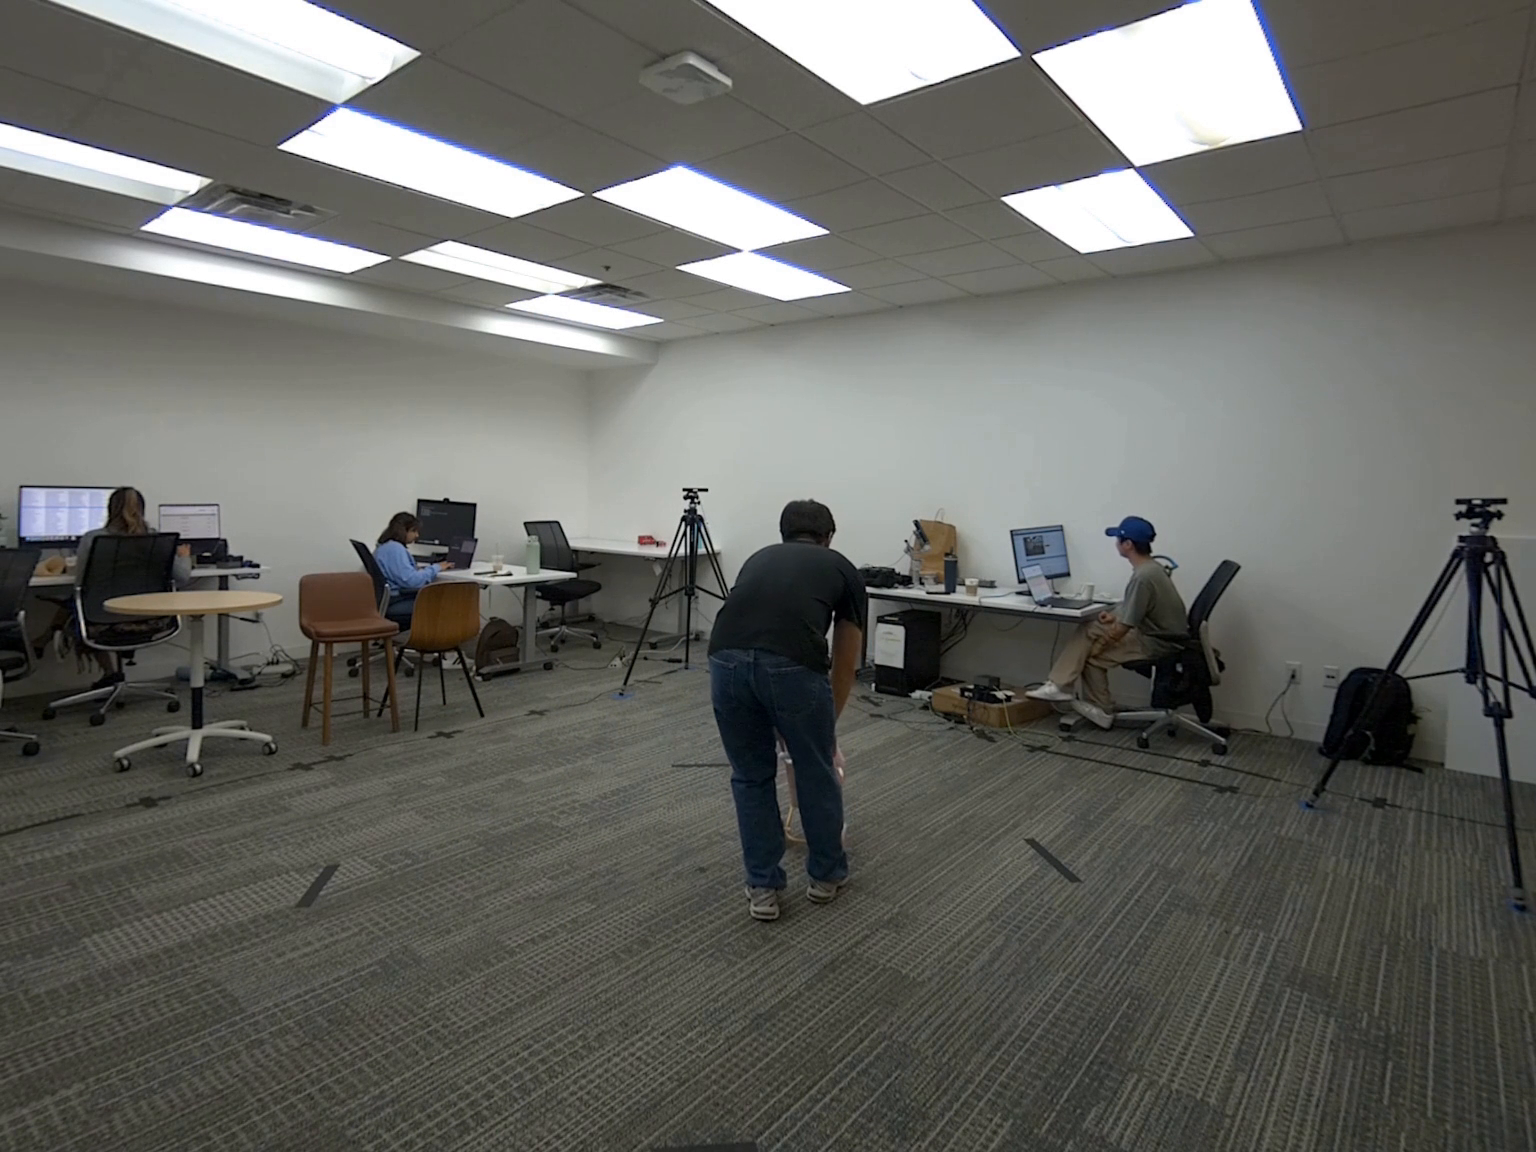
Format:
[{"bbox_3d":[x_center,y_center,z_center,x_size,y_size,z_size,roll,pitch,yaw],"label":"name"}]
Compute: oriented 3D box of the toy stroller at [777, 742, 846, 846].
[{"bbox_3d":[0.177,0.824,3.363,0.287,0.524,0.341,3,22,18],"label":"toy stroller"}]
